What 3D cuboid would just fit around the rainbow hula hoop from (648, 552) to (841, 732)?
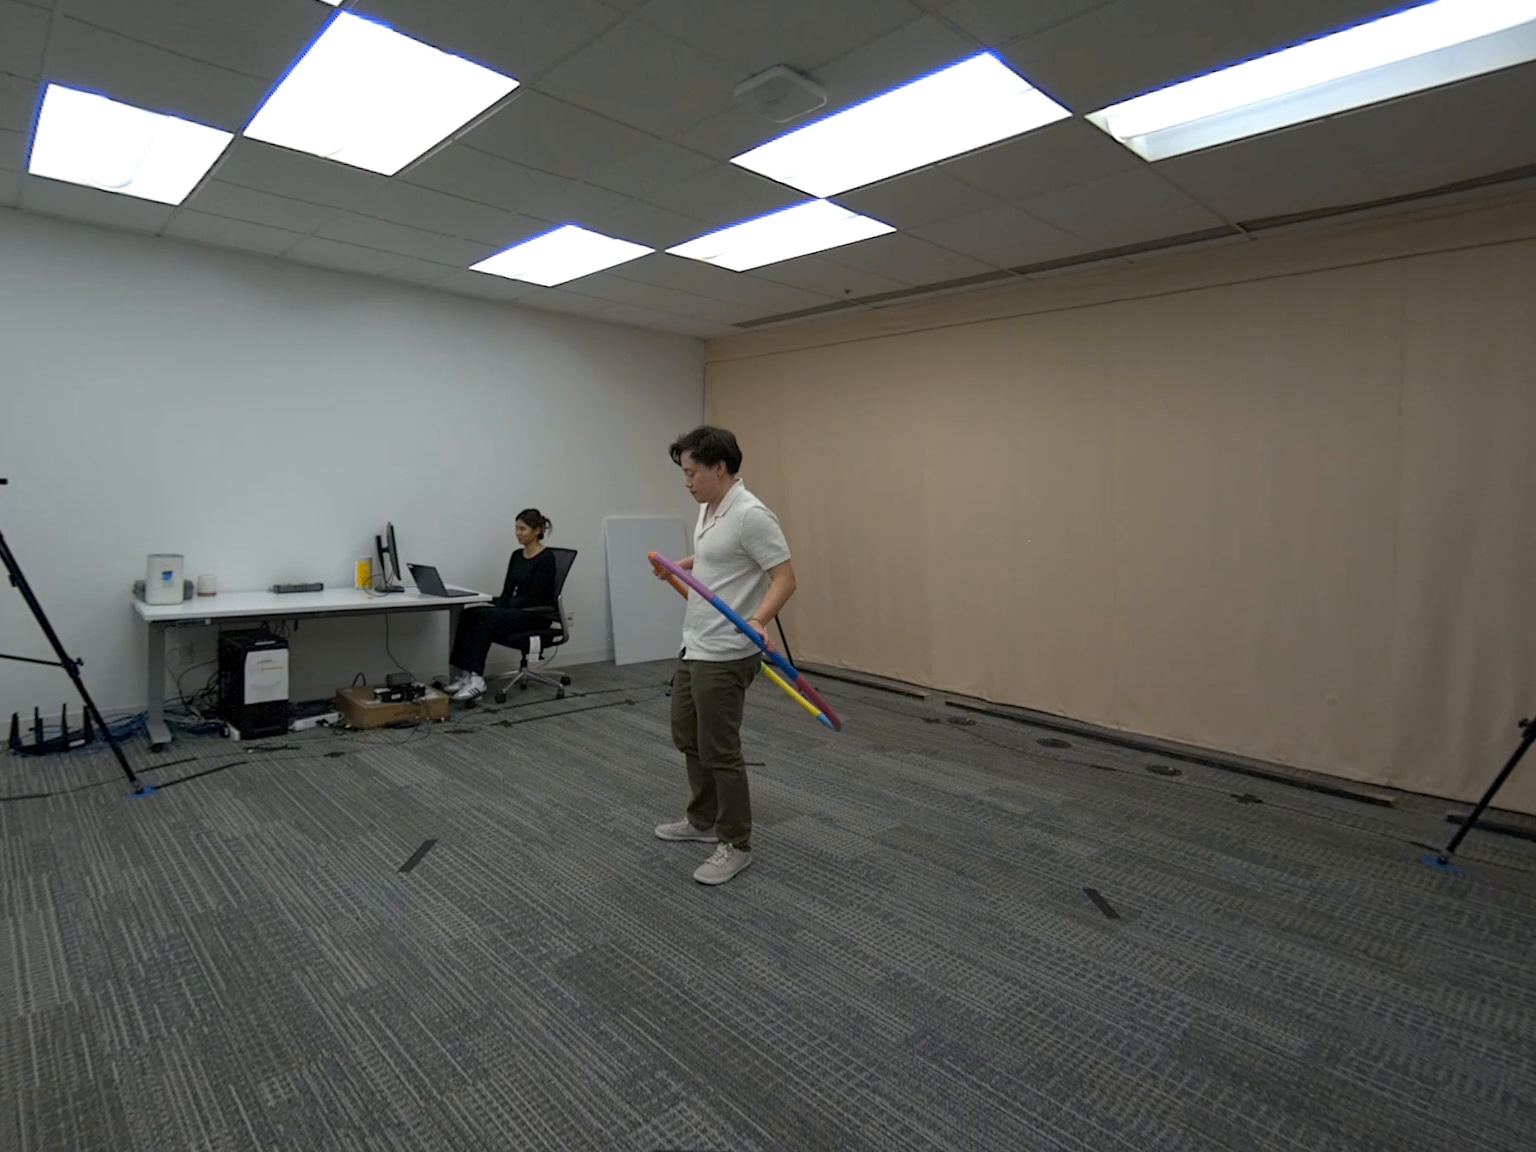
[{"bbox_3d":[-0.108,0.252,3.235,0.986,0.035,0.972,42,-8,5],"label":"rainbow hula hoop"}]
